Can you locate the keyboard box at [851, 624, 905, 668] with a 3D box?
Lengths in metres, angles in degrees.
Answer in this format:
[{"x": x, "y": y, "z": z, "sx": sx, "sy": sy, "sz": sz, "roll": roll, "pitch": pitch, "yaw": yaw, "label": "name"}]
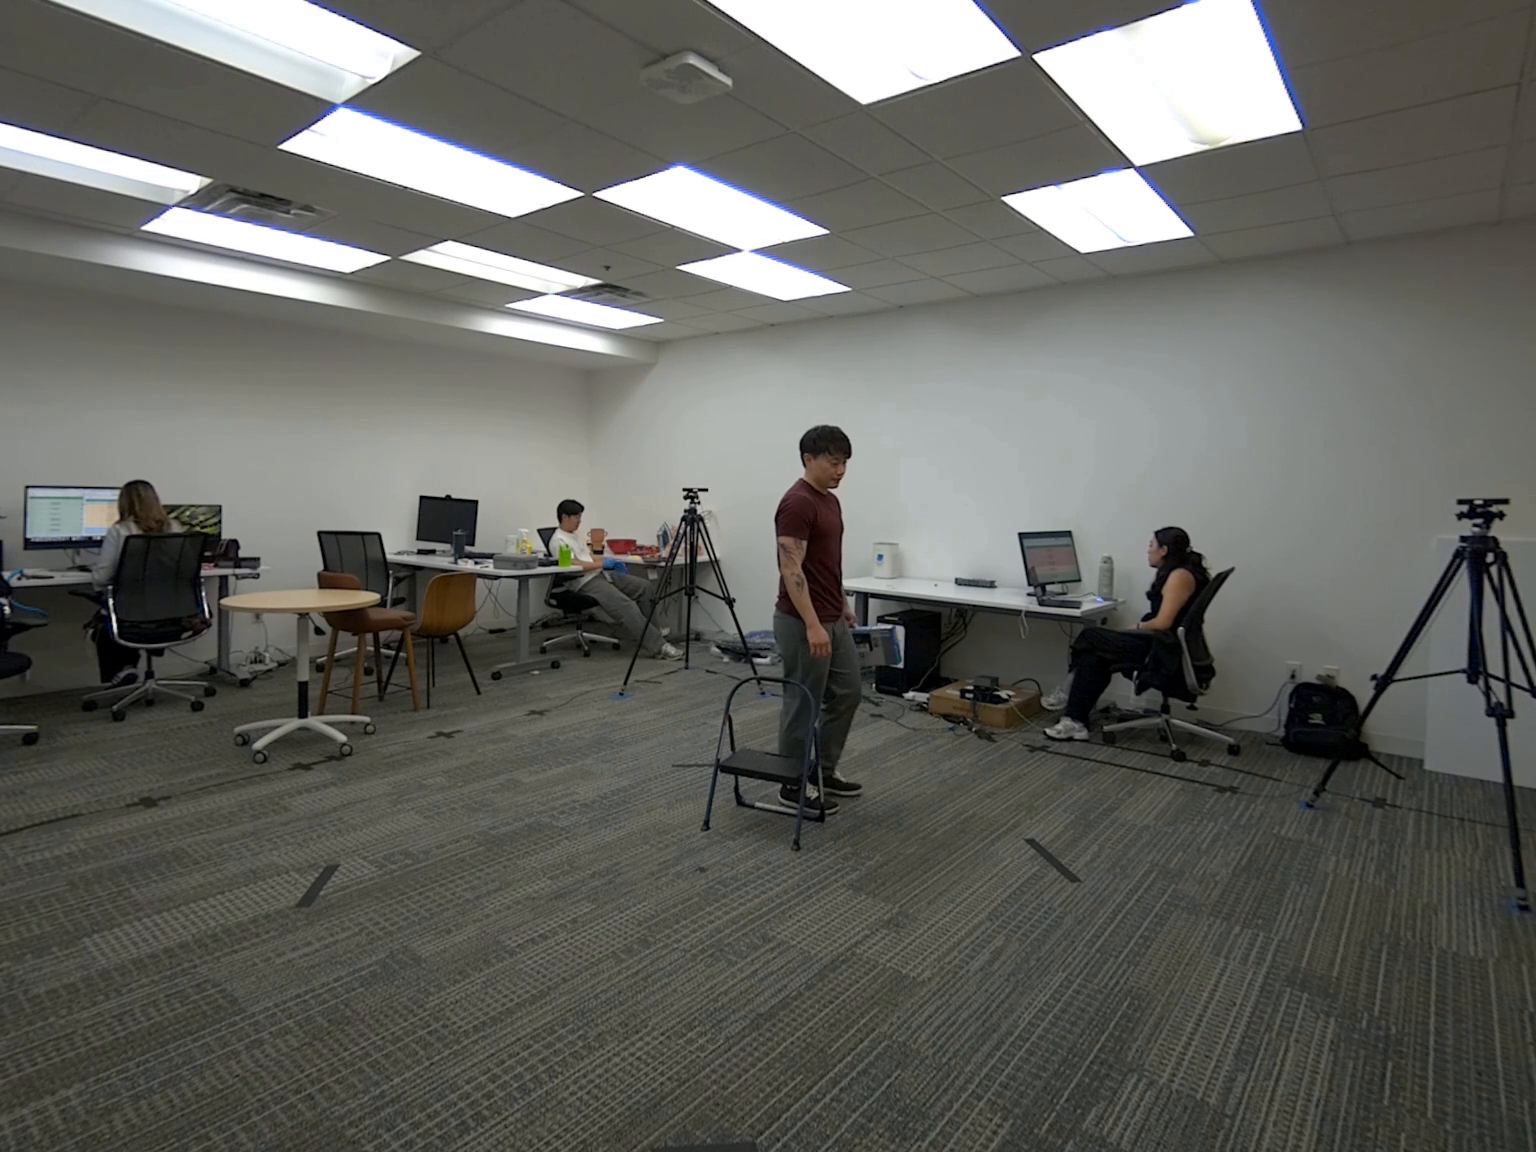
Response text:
[{"x": 0.374, "y": 0.329, "z": 3.946, "sx": 0.448, "sy": 0.175, "sz": 0.058, "roll": -5, "pitch": 7, "yaw": 31, "label": "keyboard box"}]
